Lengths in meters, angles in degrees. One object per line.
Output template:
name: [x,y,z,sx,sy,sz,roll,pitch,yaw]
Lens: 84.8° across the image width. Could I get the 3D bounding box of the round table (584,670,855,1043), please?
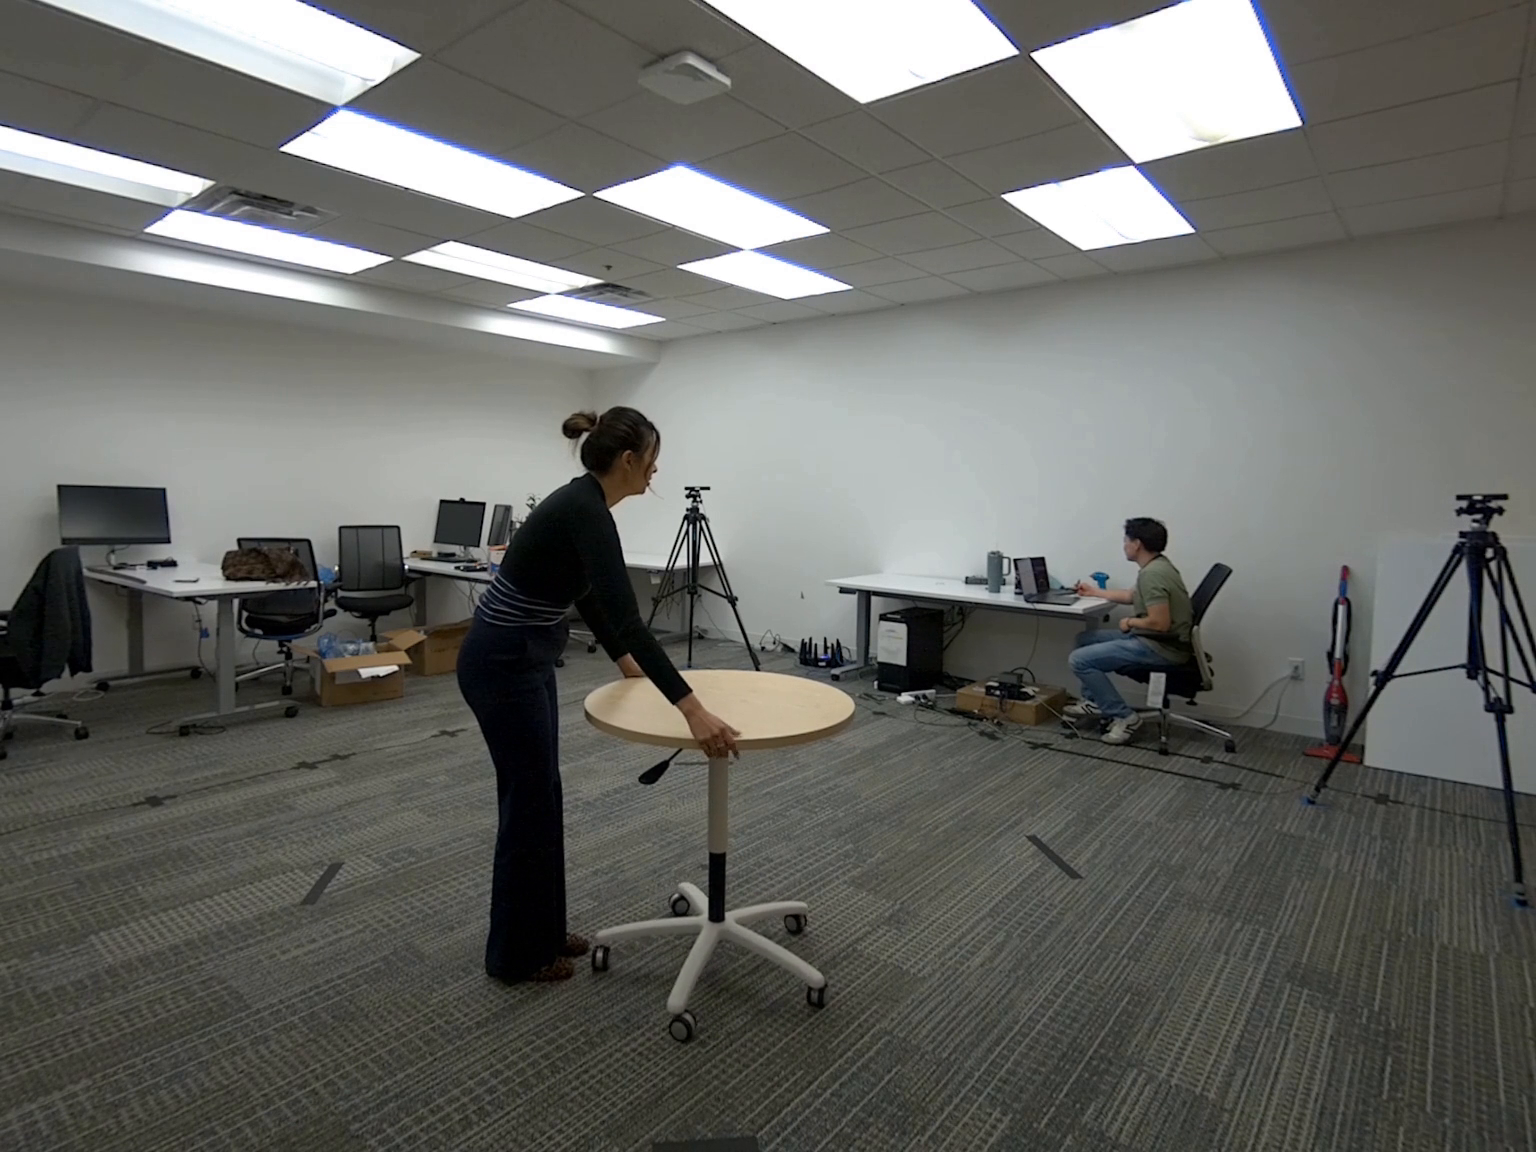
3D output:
round table: [-0.149,0.746,2.446,0.763,0.791,0.768,0,5,-2]
